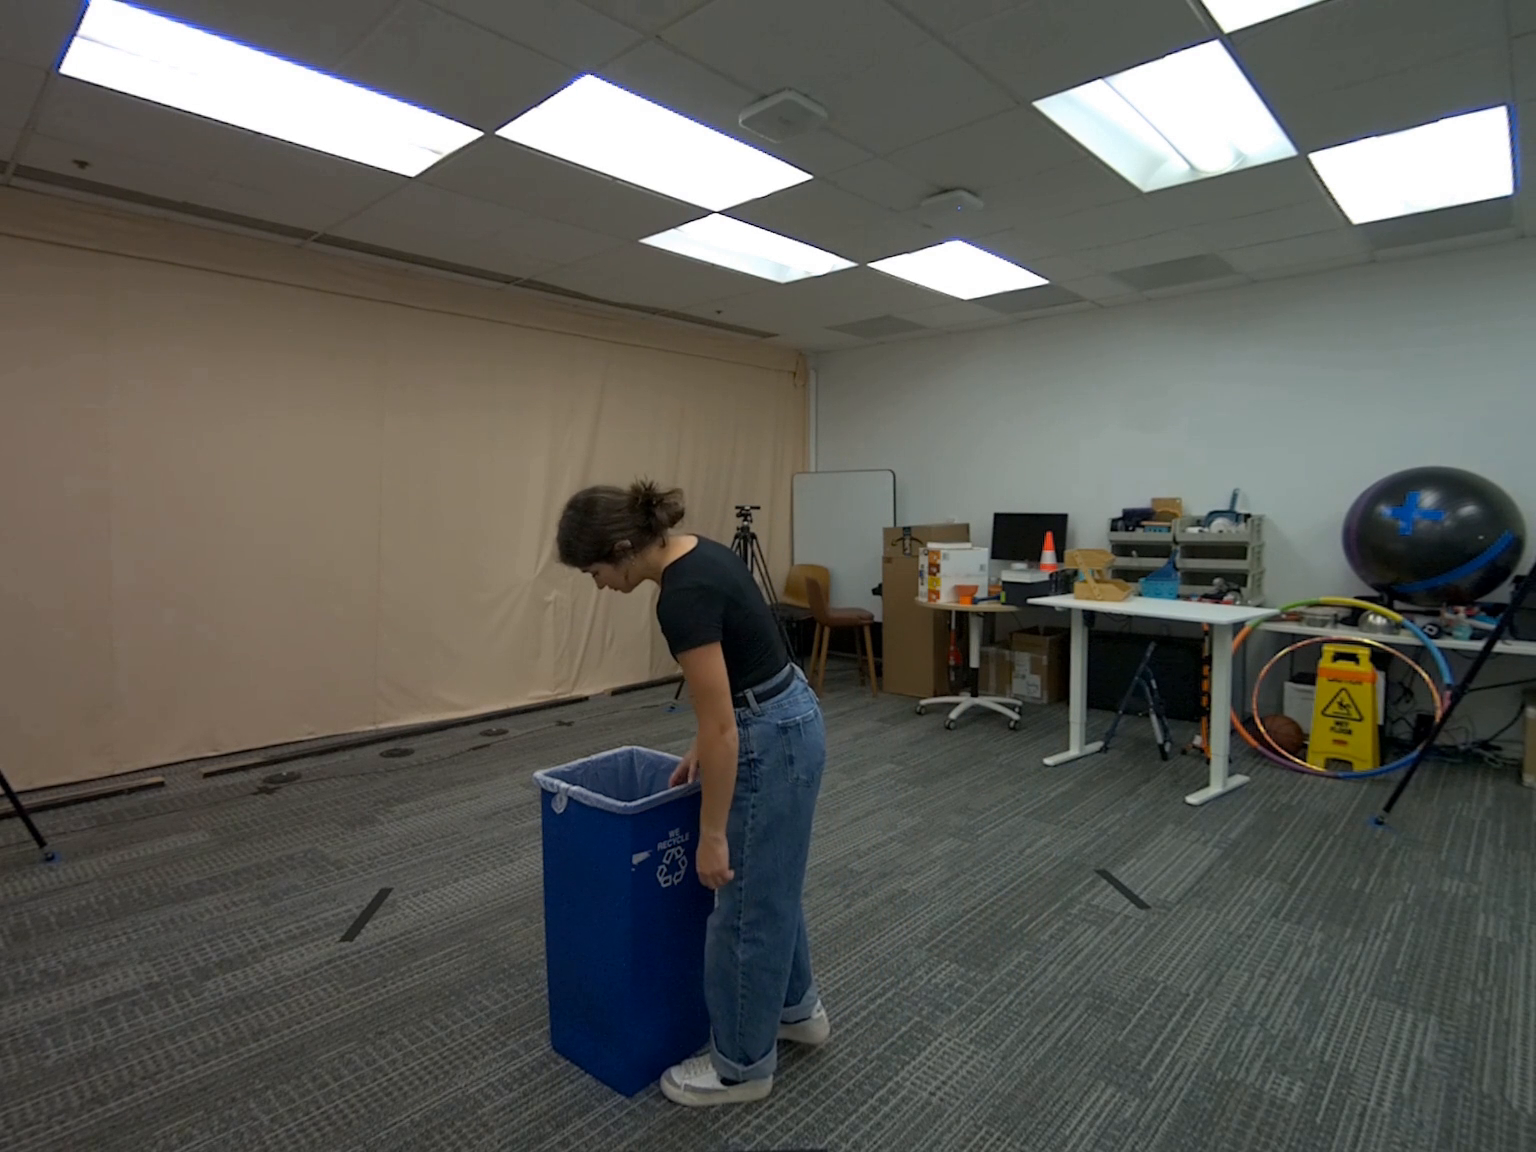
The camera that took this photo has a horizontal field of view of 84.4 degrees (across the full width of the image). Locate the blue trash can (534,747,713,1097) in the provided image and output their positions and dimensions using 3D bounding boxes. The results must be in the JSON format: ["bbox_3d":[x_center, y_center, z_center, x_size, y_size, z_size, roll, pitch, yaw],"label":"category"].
[{"bbox_3d":[-0.362,0.858,2.170,0.386,0.712,0.366,4,4,38],"label":"blue trash can"}]
